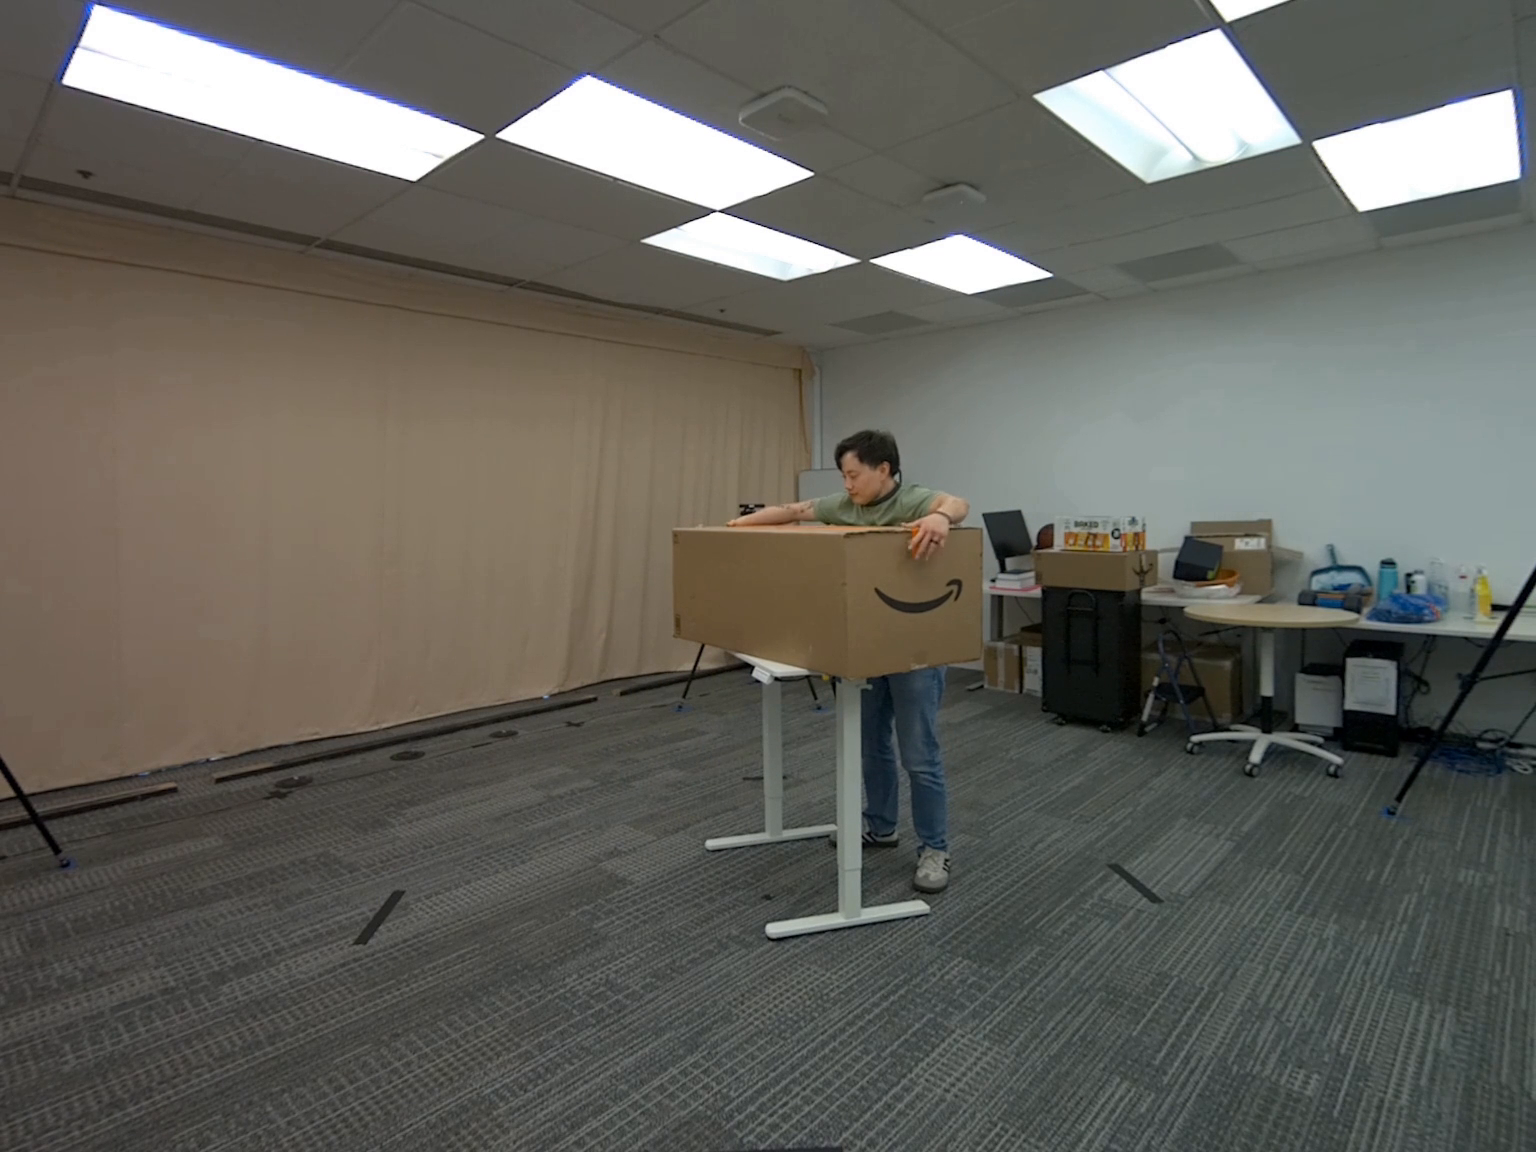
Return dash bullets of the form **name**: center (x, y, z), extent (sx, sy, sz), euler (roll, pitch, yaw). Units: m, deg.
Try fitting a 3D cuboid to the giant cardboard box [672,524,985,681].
- **giant cardboard box**: center (0.157, 0.034, 2.972), extent (0.561, 0.425, 1.057), euler (-3, 4, -34)
